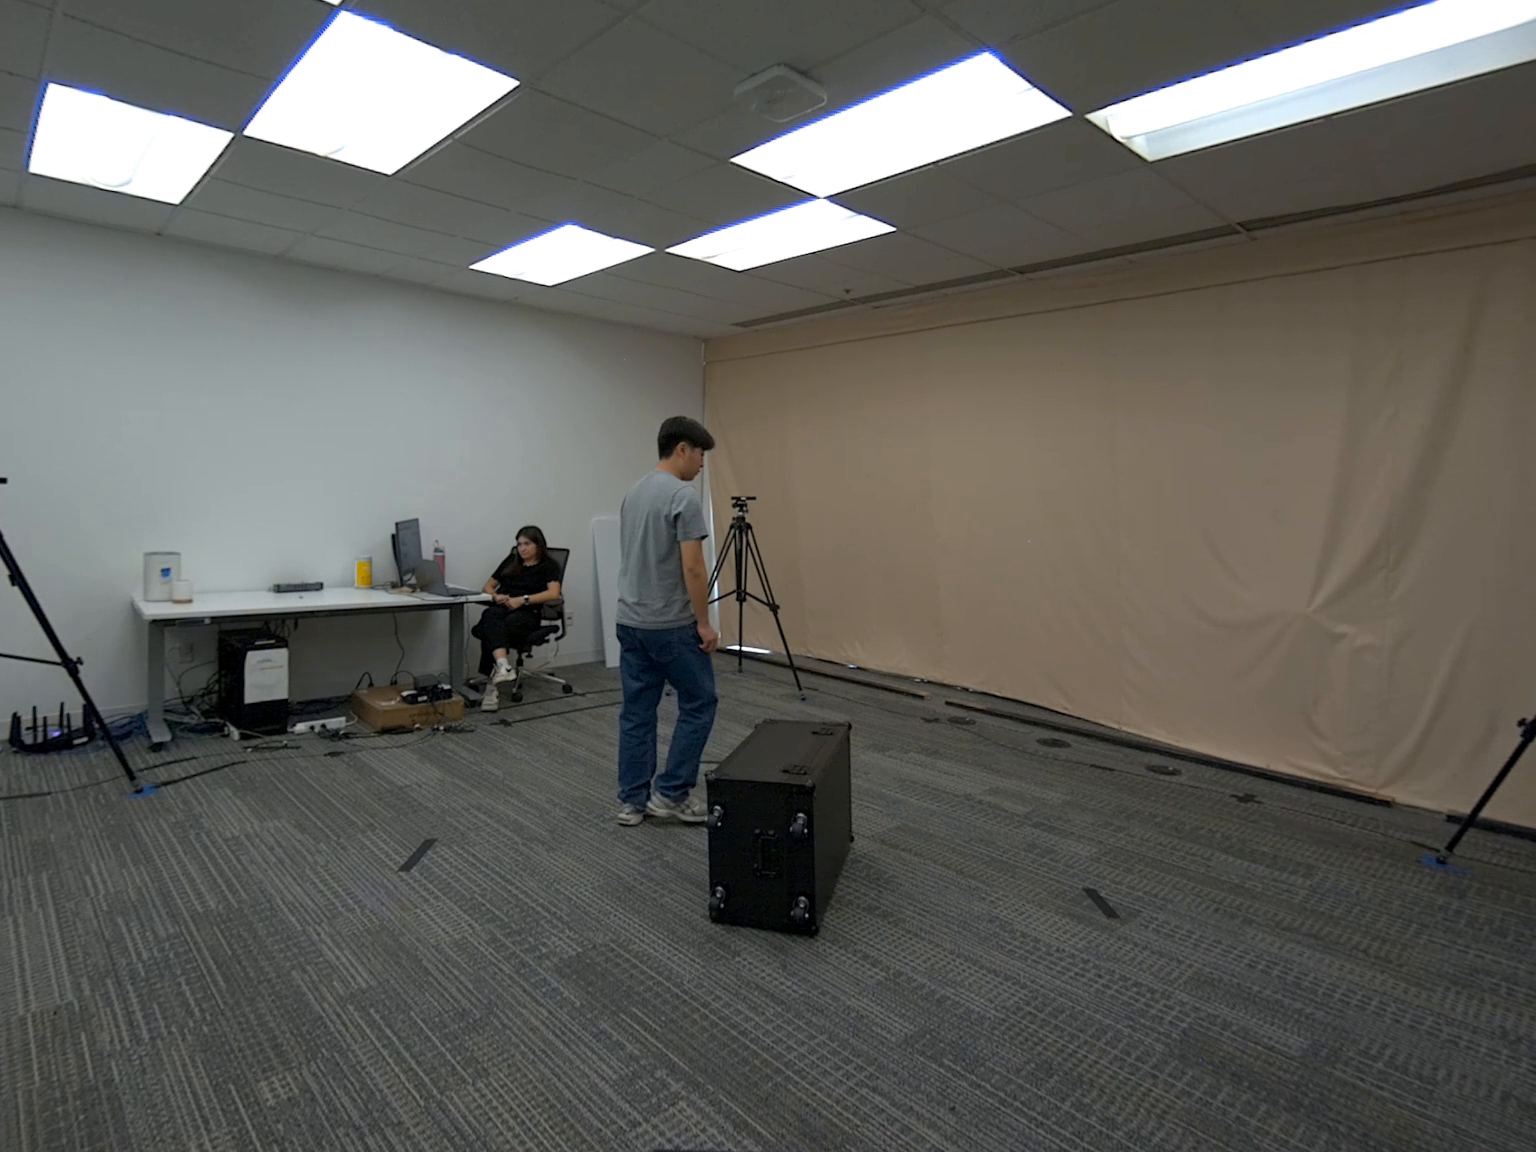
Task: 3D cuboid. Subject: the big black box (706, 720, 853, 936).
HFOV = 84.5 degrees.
[{"bbox_3d":[0.043,0.859,3.035,0.401,0.520,0.853,-1,4,15],"label":"big black box"}]
